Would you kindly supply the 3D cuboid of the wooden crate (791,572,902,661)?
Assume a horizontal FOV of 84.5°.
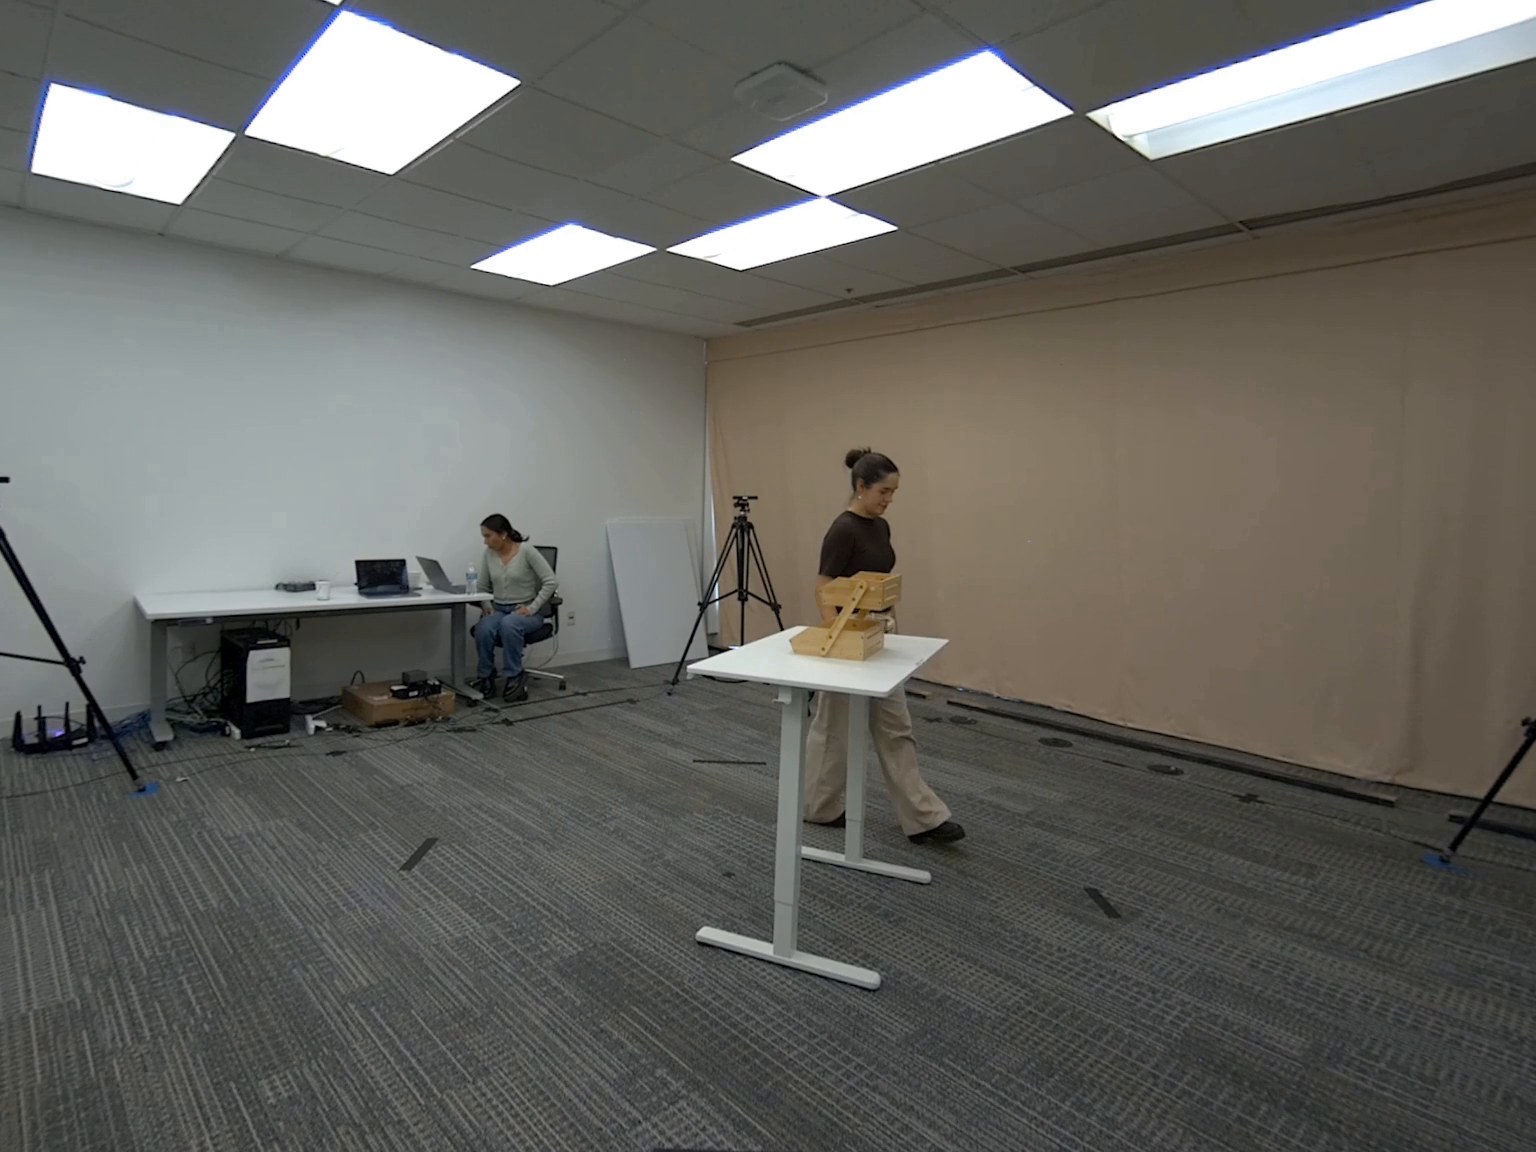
[{"bbox_3d":[0.258,0.122,2.841,0.307,0.272,0.320,4,5,21],"label":"wooden crate"}]
